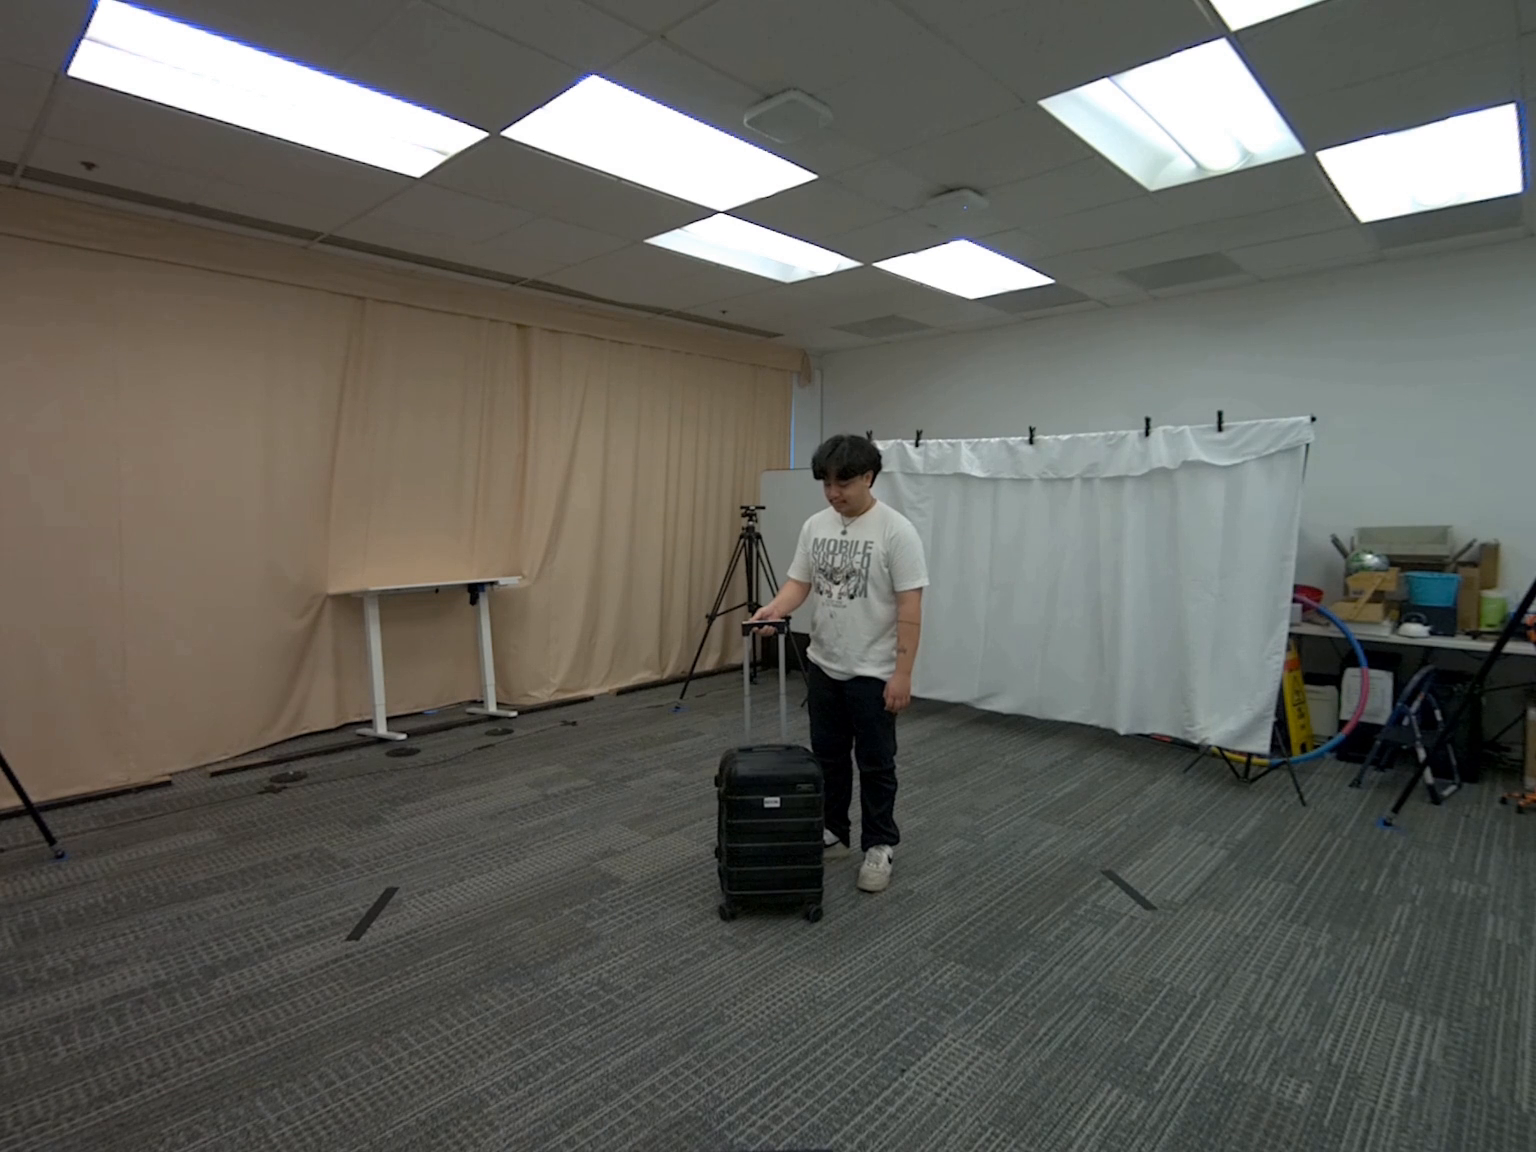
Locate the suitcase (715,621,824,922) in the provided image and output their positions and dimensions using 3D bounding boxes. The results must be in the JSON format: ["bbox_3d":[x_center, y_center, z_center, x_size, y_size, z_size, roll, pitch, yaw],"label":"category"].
[{"bbox_3d":[0.008,0.677,2.903,0.382,0.976,0.259,-1,4,-5],"label":"suitcase"}]
